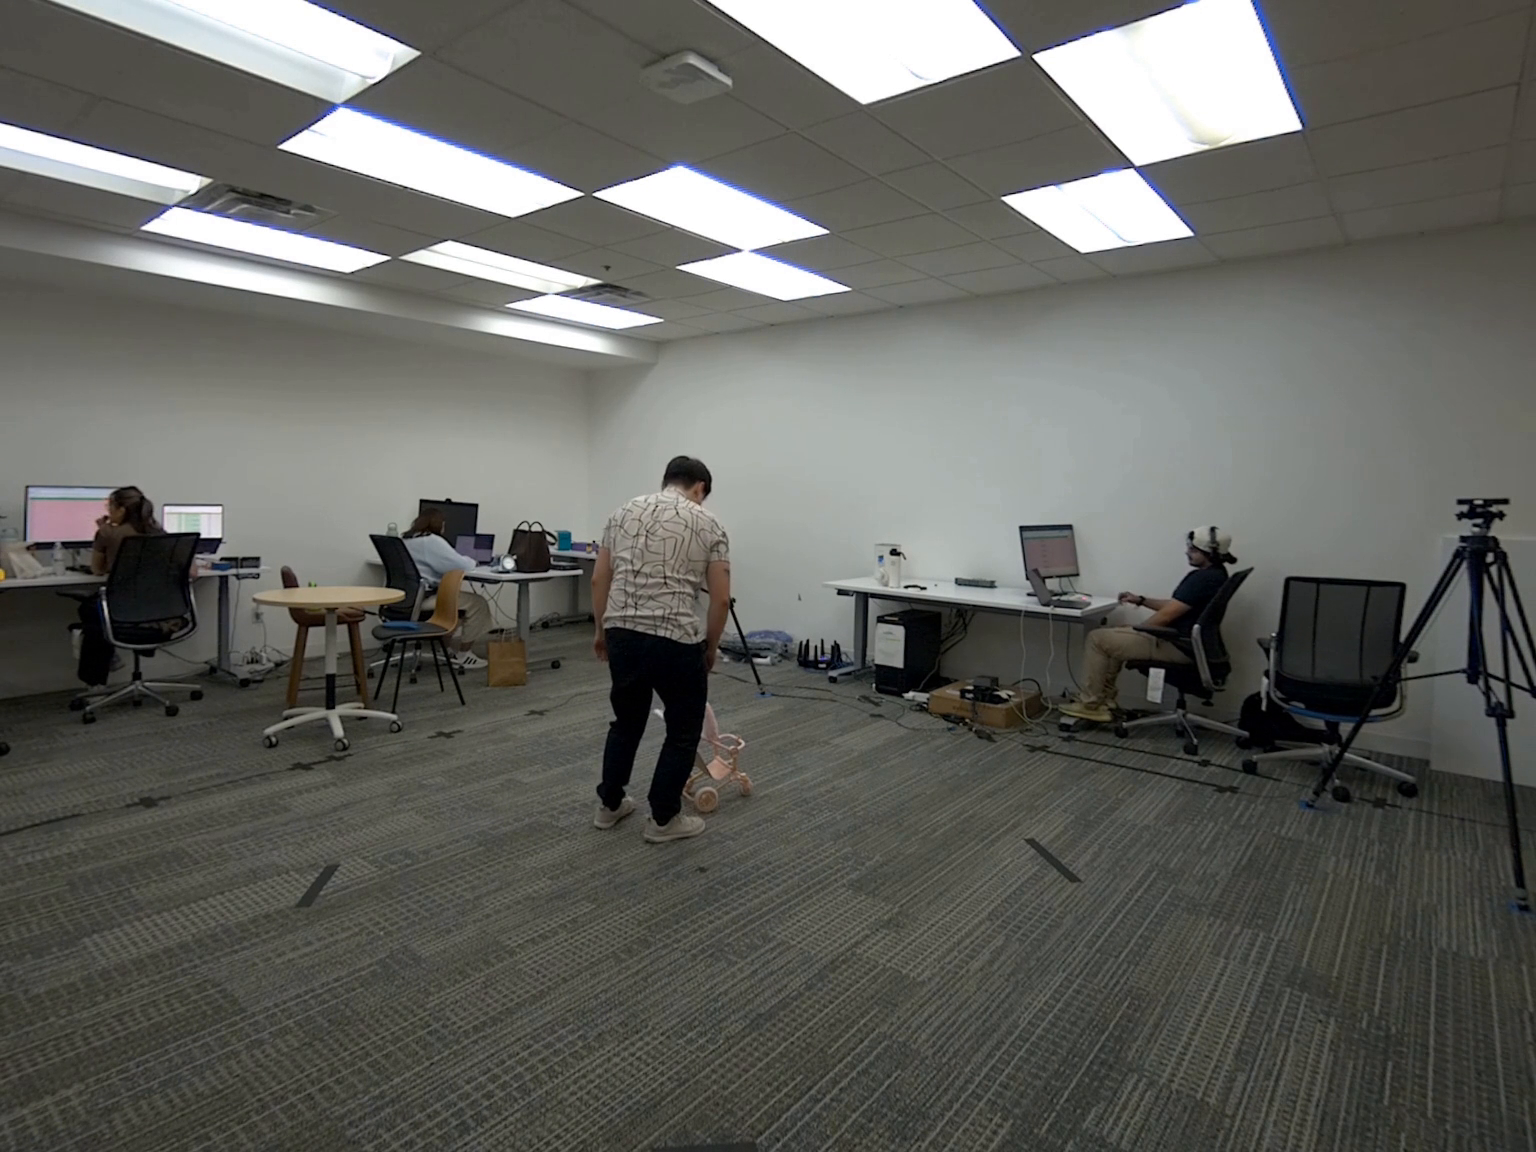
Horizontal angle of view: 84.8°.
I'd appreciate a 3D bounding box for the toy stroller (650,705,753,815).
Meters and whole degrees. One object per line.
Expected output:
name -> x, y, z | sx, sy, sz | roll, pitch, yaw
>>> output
toy stroller -> -0.279, 0.779, 3.786 | 0.337, 0.529, 0.288 | -20, 11, -20
